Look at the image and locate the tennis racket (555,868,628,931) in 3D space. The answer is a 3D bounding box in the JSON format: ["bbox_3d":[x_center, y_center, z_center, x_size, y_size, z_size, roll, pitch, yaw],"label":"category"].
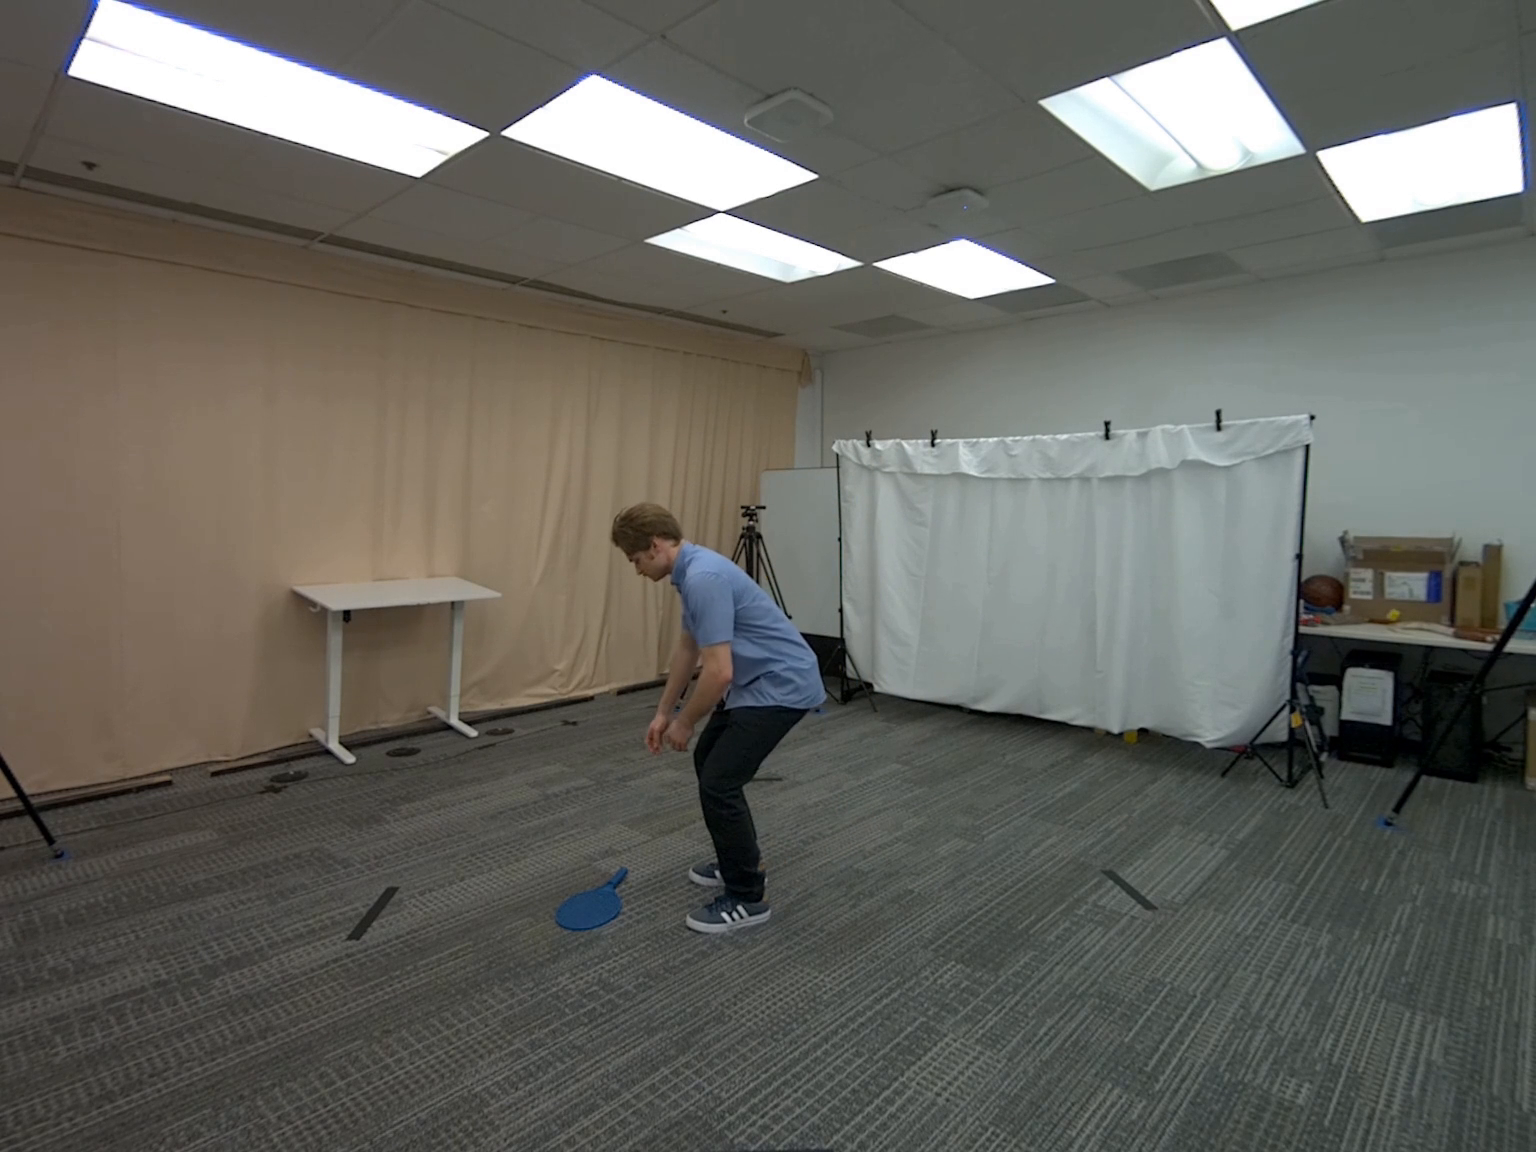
[{"bbox_3d":[-0.595,1.137,2.972,0.218,0.031,0.426,2,7,16],"label":"tennis racket"}]
